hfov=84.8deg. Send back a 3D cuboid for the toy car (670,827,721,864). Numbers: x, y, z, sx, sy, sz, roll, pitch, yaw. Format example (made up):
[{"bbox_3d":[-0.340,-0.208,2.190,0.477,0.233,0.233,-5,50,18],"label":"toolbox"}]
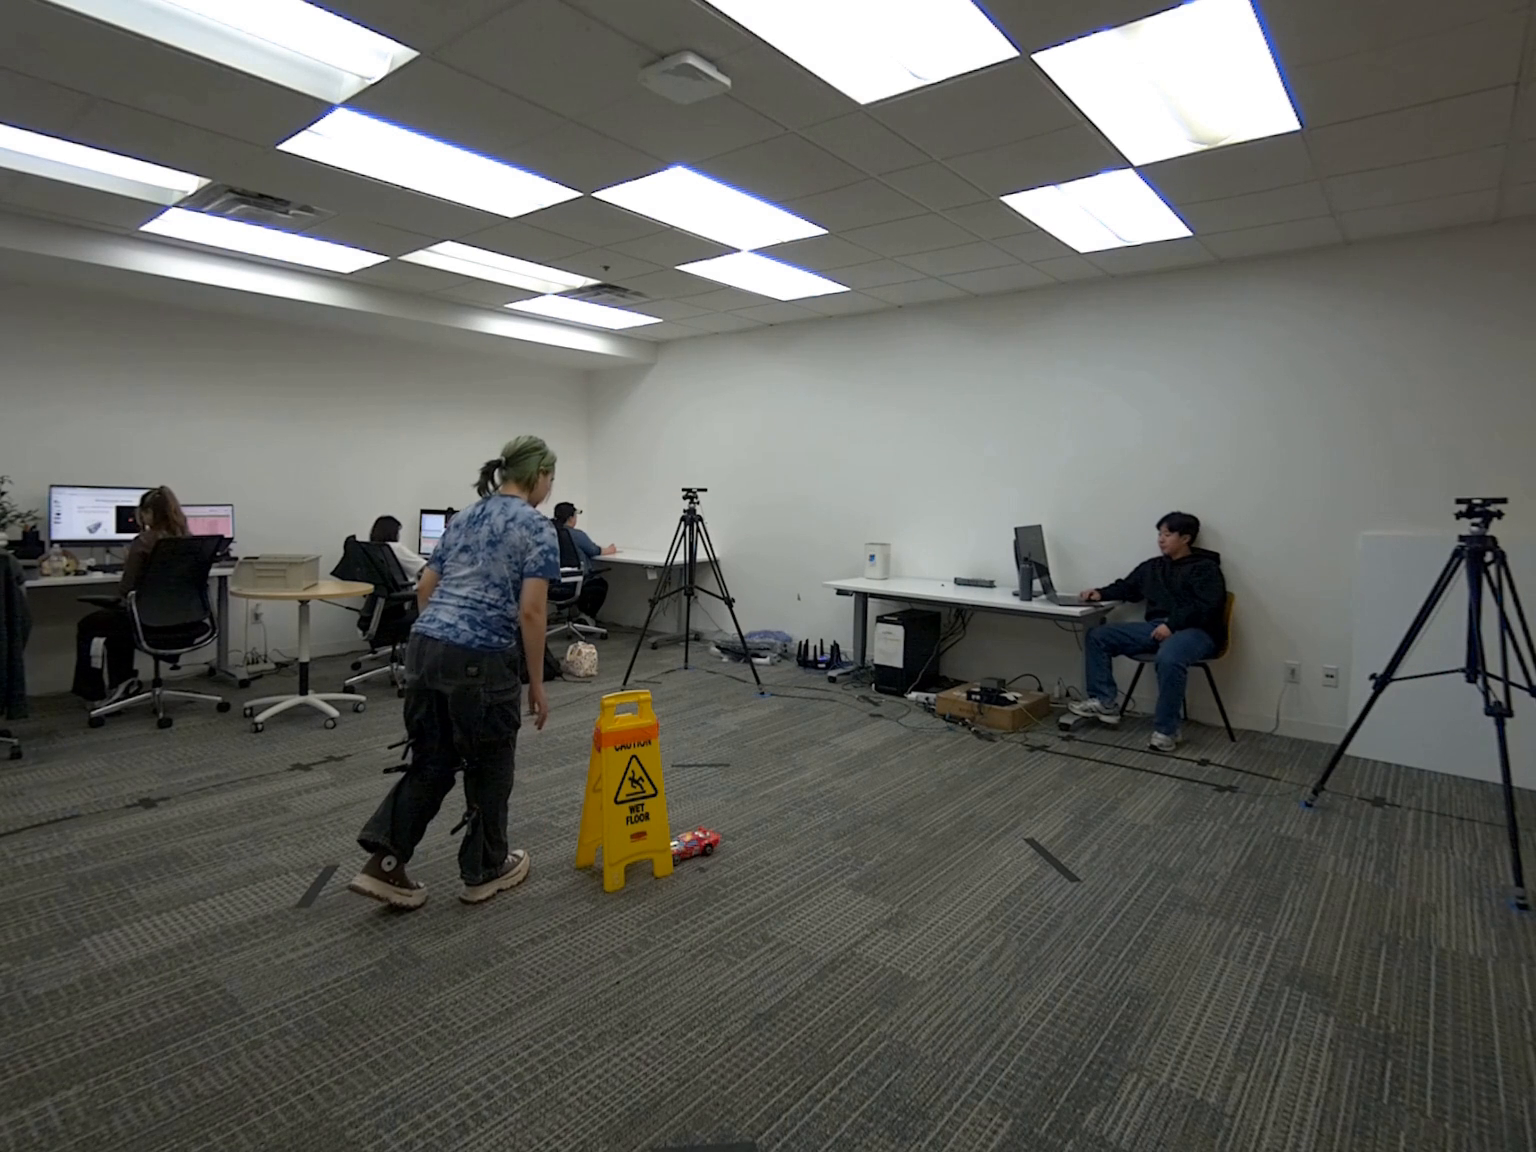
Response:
[{"bbox_3d":[-0.308,1.030,3.237,0.250,0.082,0.134,-19,16,-32],"label":"toy car"}]
